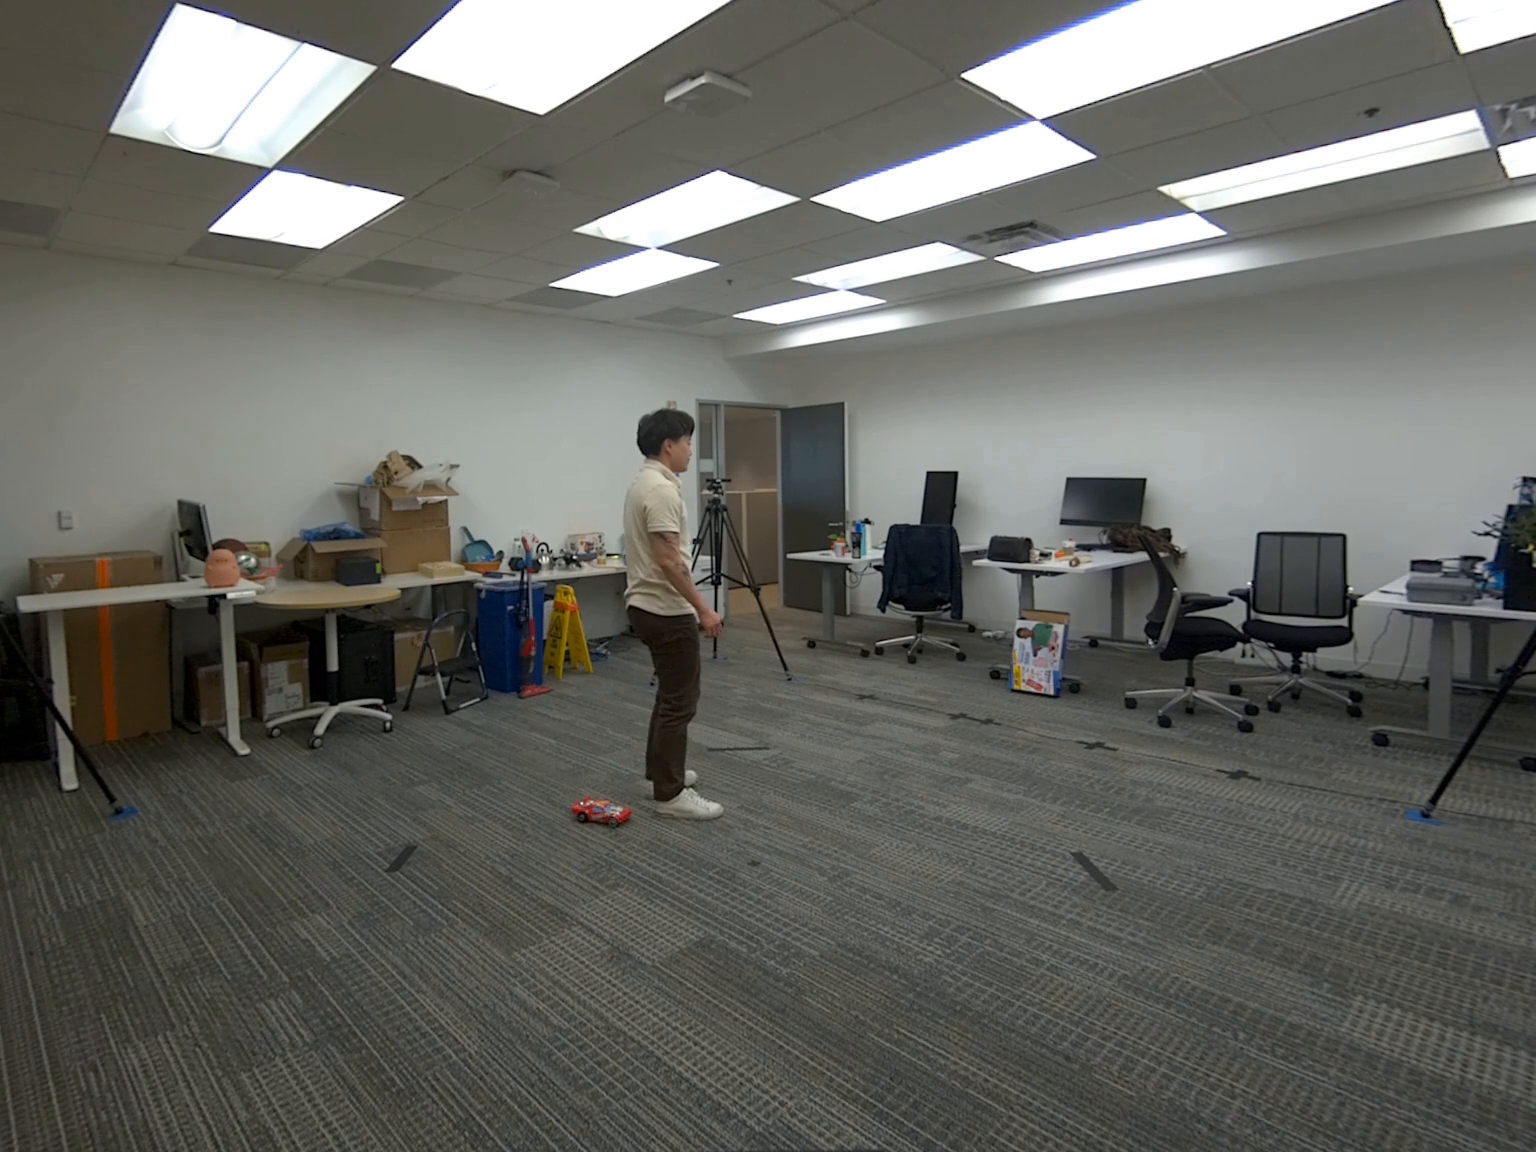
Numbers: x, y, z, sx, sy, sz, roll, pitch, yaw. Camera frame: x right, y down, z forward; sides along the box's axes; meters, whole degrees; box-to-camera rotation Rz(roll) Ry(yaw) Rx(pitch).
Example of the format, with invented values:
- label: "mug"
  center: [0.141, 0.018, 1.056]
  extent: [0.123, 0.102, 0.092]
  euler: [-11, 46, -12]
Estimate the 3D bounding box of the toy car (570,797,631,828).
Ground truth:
- label: "toy car"
  center: [-0.695, 0.979, 3.534]
  extent: [0.260, 0.083, 0.128]
  euler: [12, 10, 21]
